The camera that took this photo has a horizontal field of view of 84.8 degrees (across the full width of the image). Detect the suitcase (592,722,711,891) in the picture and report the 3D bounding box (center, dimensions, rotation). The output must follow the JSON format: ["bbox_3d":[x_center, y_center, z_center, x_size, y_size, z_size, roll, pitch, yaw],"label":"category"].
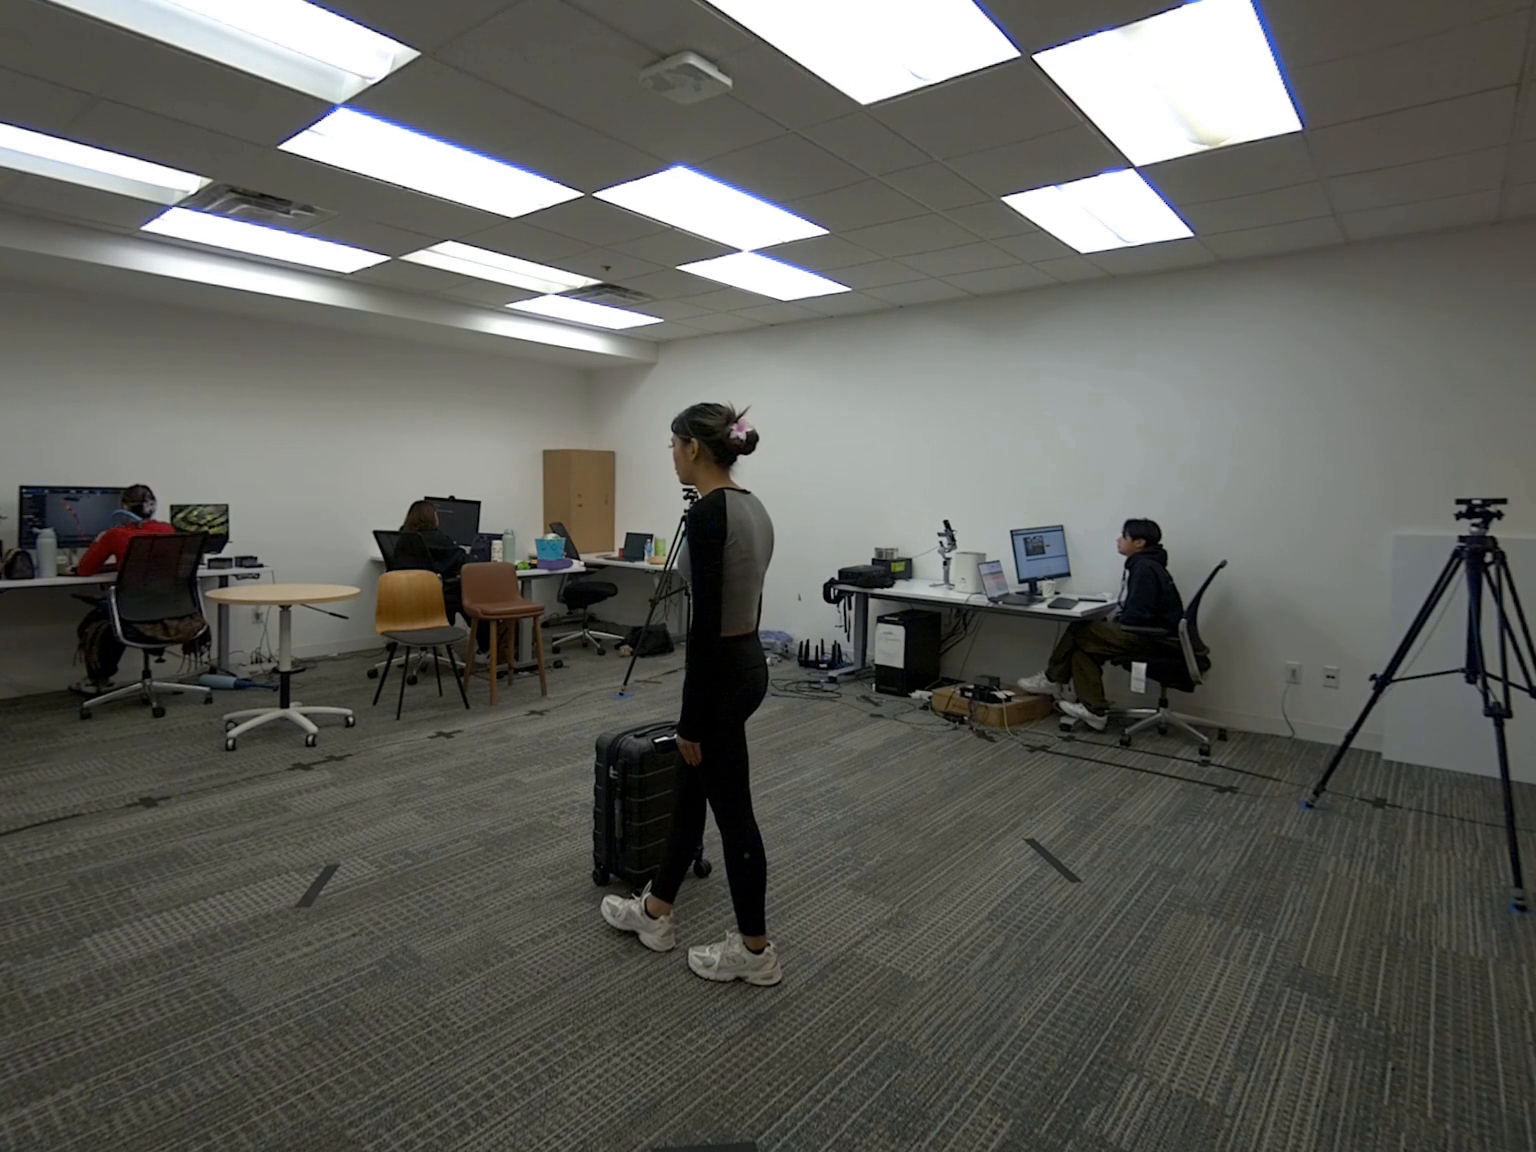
[{"bbox_3d":[-0.432,0.800,3.019,0.256,0.549,0.364,0,2,41],"label":"suitcase"}]
